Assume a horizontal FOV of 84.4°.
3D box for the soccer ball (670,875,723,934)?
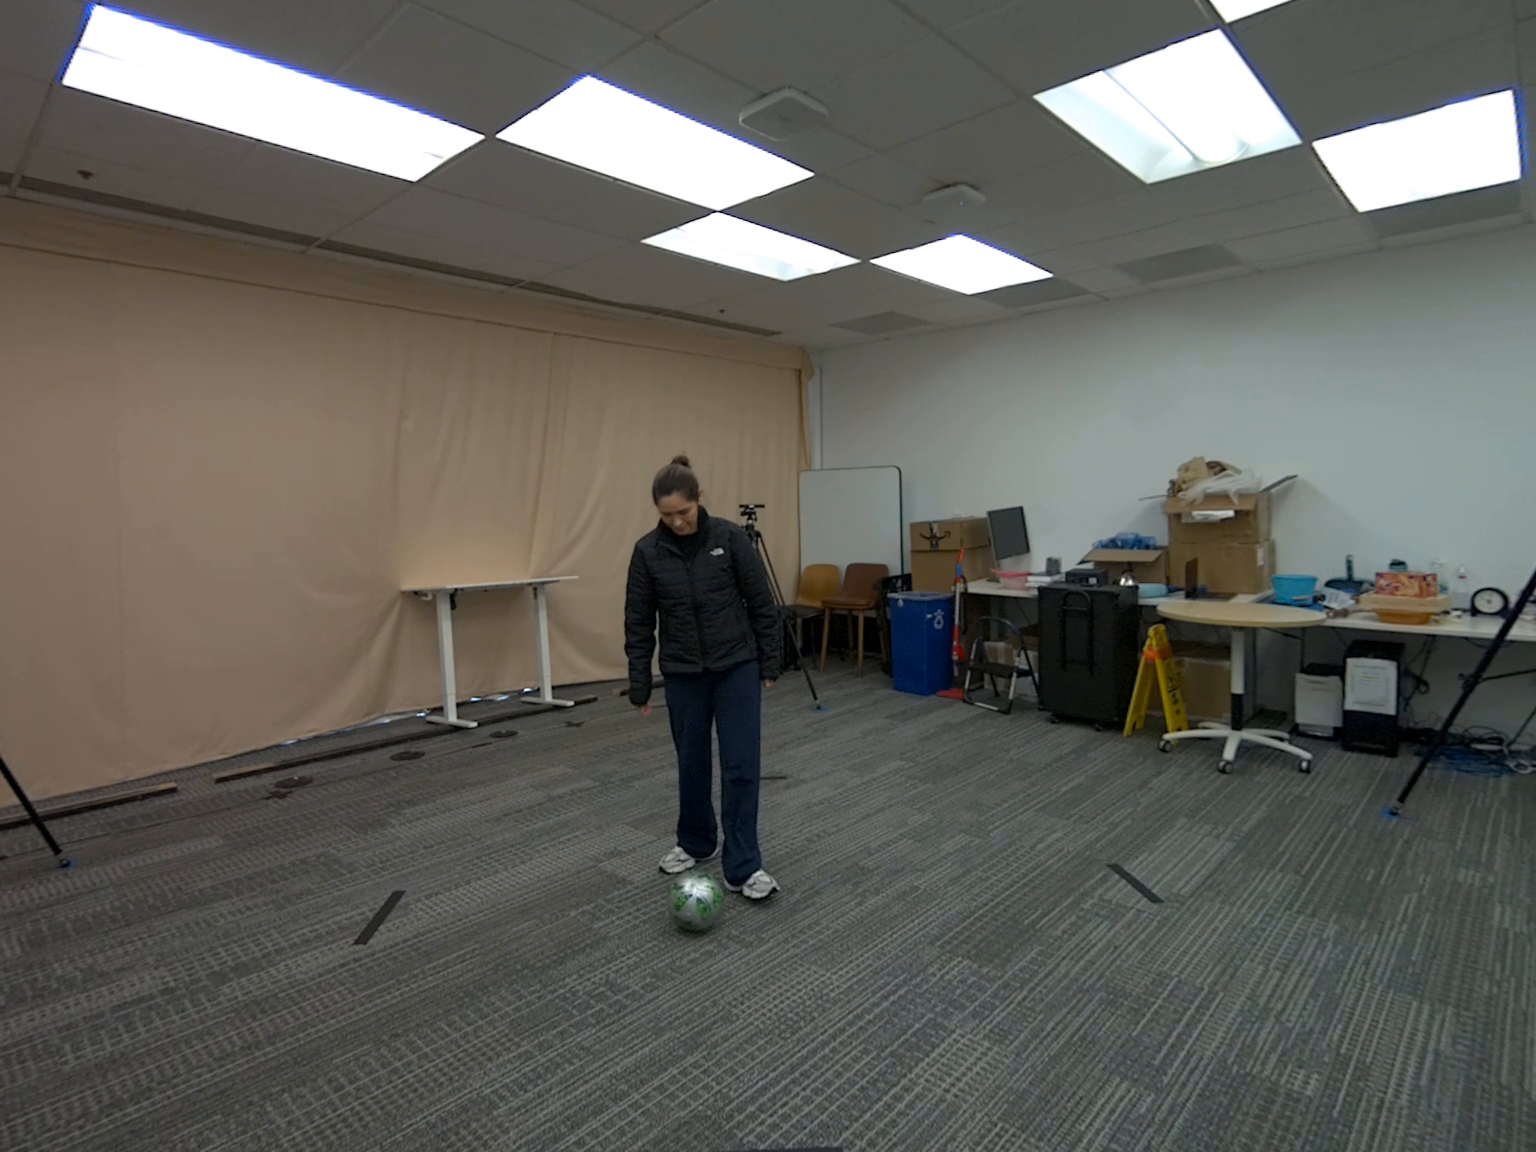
[{"bbox_3d":[-0.241,1.064,2.770,0.187,0.187,0.188,-1,4,-2],"label":"soccer ball"}]
